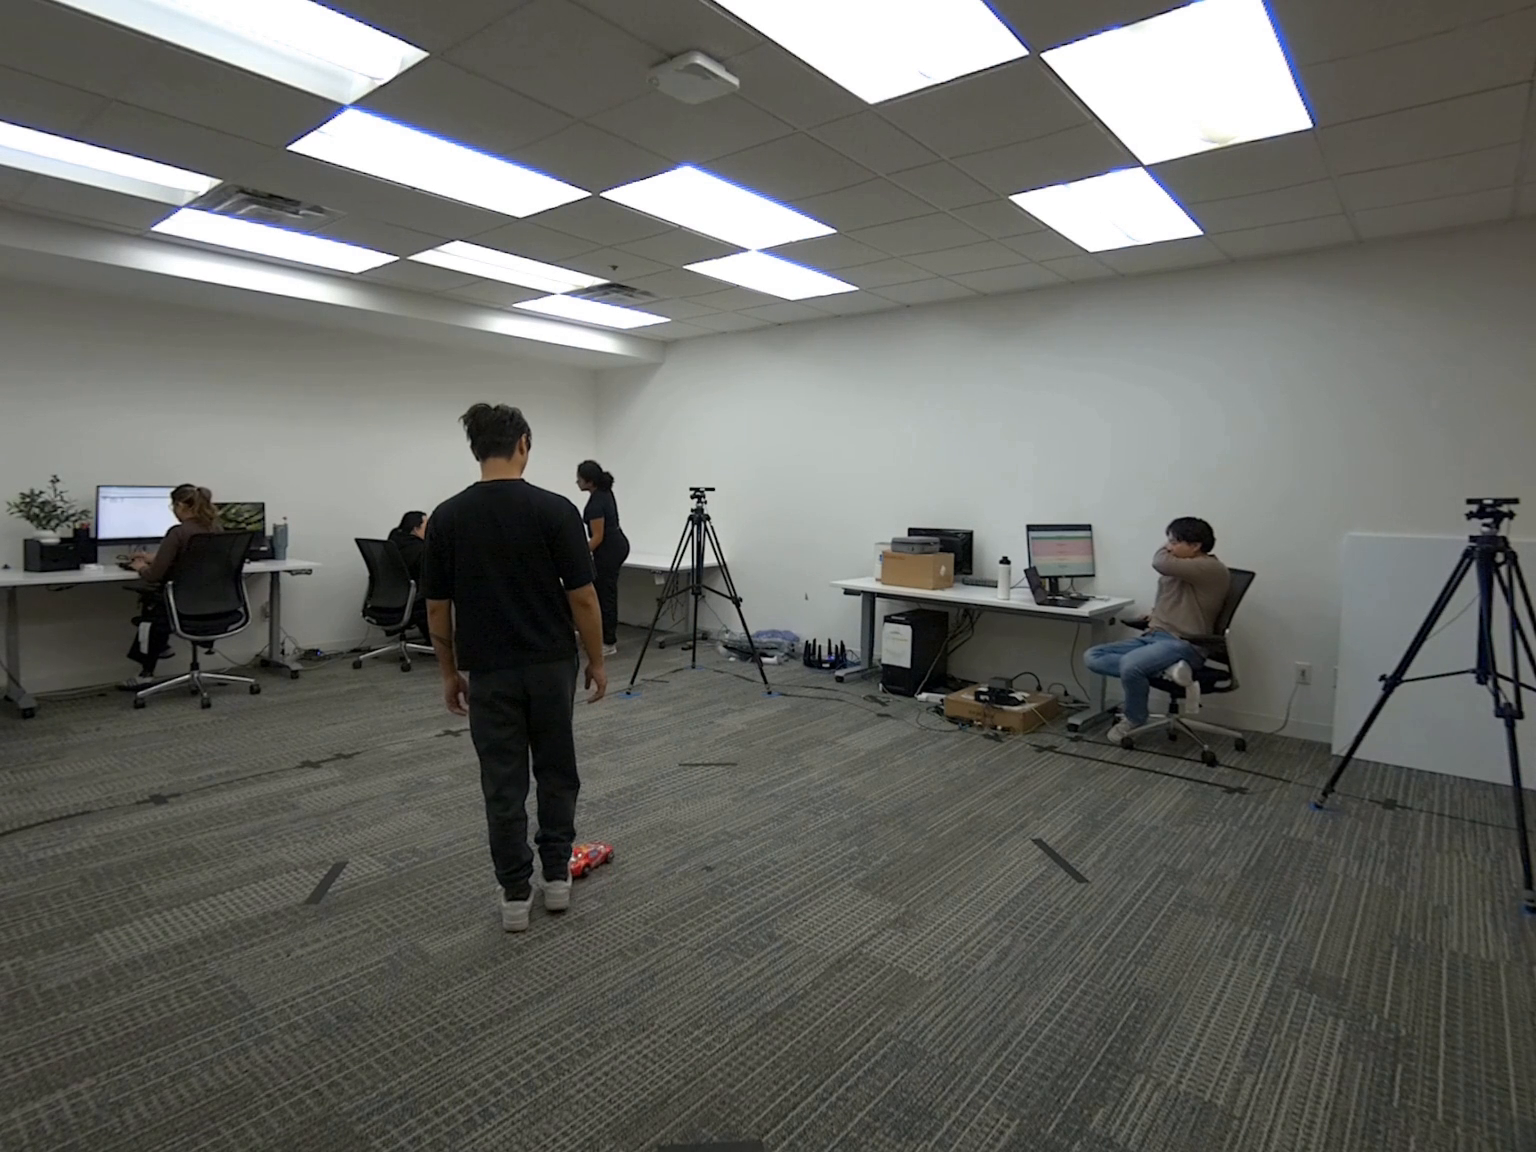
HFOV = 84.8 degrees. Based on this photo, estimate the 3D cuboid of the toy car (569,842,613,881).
[{"bbox_3d":[-0.680,1.028,3.082,0.134,0.083,0.246,4,-5,27],"label":"toy car"}]
